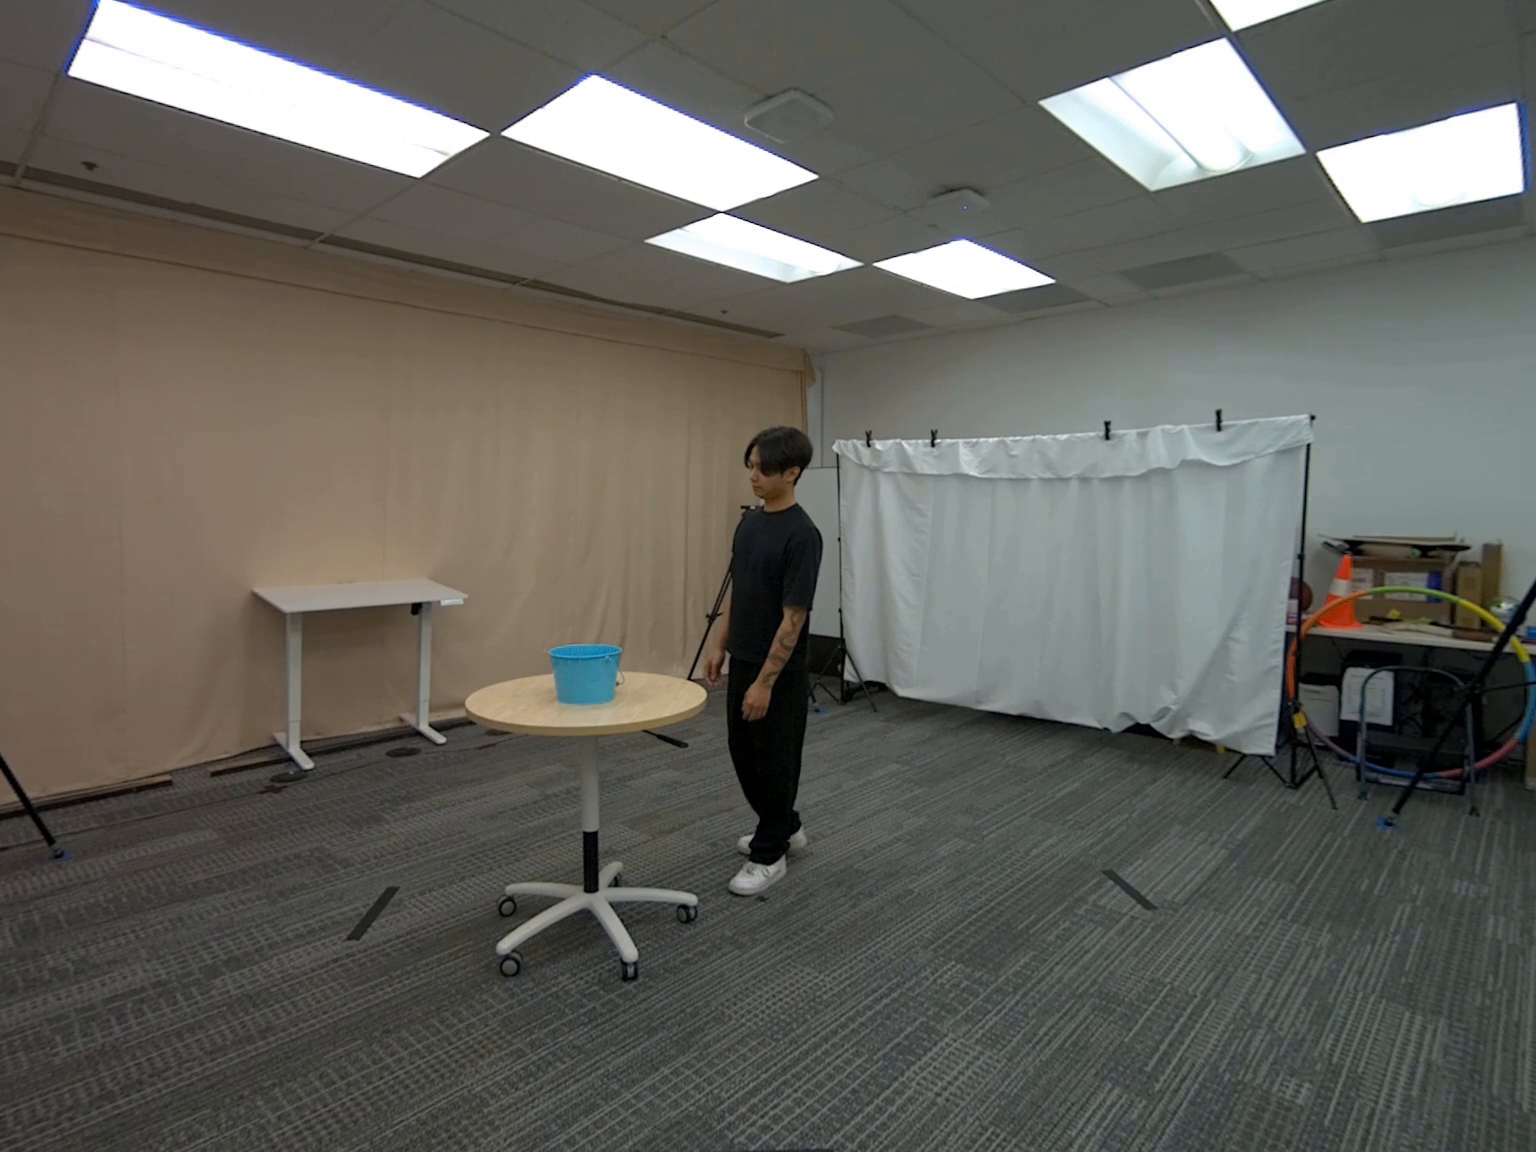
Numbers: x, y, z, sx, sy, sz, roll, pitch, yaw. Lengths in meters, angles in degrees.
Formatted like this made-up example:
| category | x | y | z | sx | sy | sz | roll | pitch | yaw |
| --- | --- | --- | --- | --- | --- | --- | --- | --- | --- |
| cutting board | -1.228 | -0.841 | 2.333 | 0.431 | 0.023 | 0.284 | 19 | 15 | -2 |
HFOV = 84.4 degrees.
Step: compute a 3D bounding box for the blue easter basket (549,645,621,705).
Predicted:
| category | x | y | z | sx | sy | sz | roll | pitch | yaw |
| --- | --- | --- | --- | --- | --- | --- | --- | --- | --- |
| blue easter basket | -0.575 | 0.316 | 2.669 | 0.243 | 0.155 | 0.244 | 0 | 5 | -2 |
